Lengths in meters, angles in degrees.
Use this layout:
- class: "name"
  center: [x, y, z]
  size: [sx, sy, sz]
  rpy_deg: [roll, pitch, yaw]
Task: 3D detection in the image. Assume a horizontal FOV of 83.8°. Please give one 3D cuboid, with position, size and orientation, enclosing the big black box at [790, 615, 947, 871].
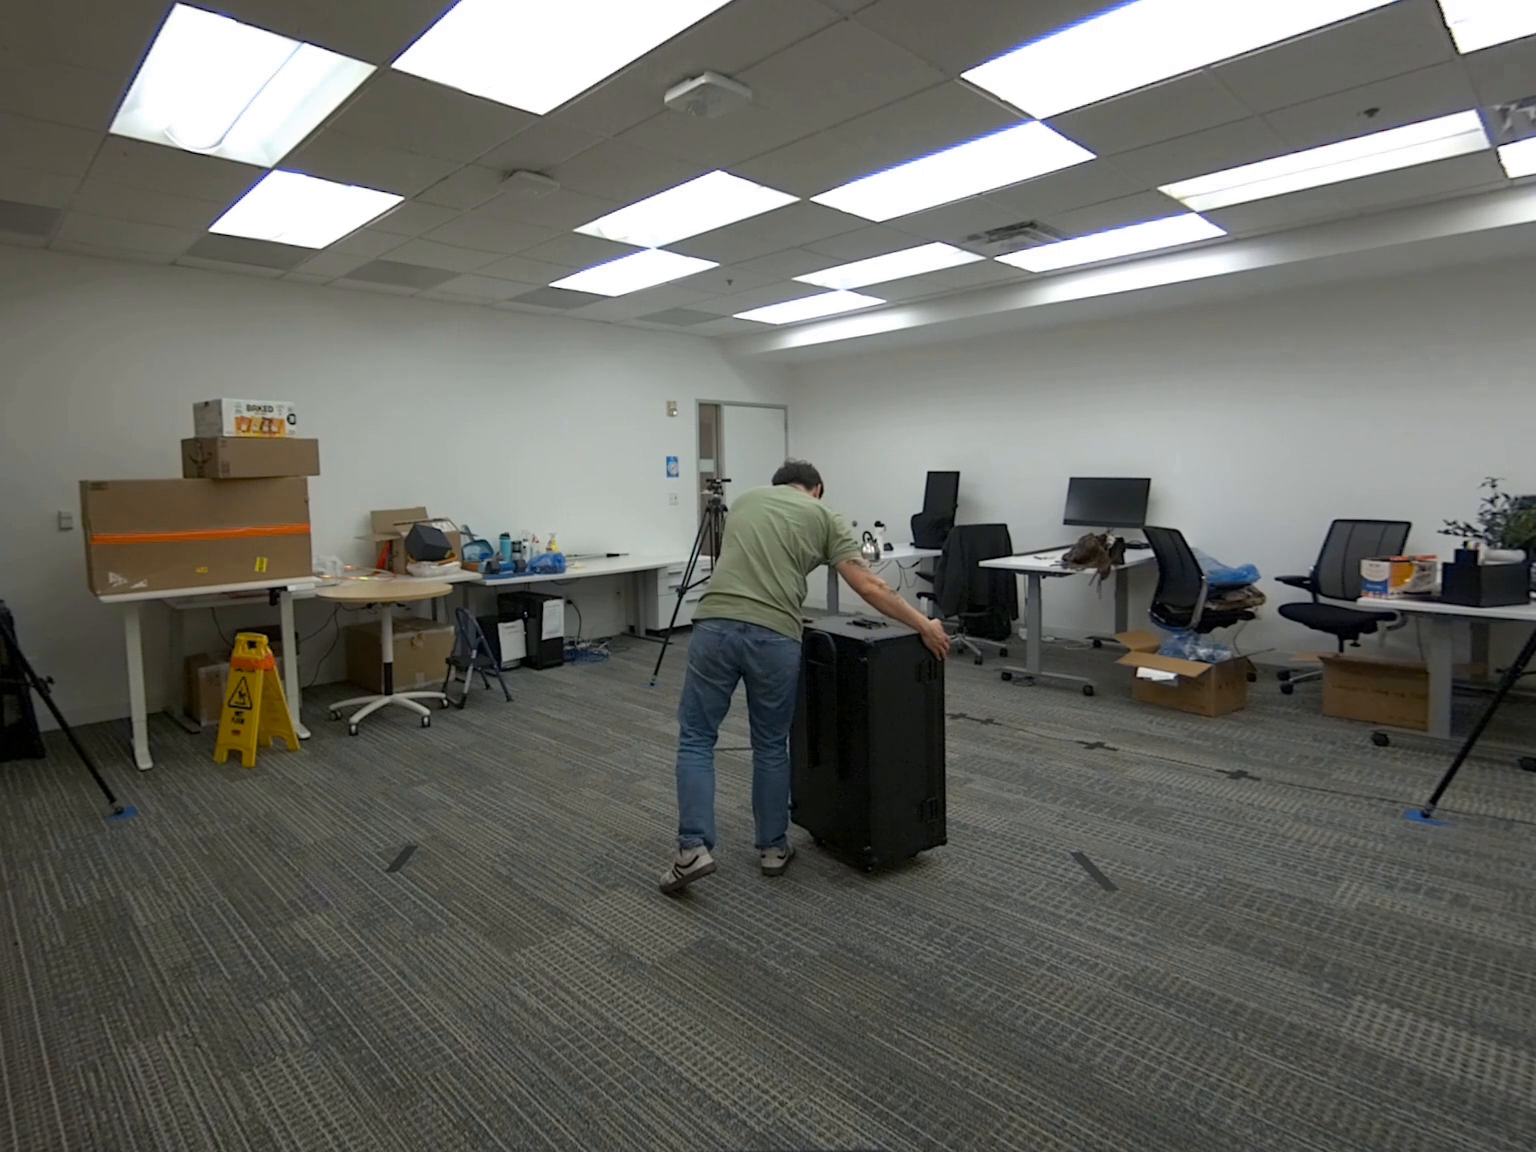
- class: "big black box"
  center: [0.350, 0.606, 3.163]
  size: [0.387, 0.858, 0.536]
  rpy_deg: [-5, 6, -32]
